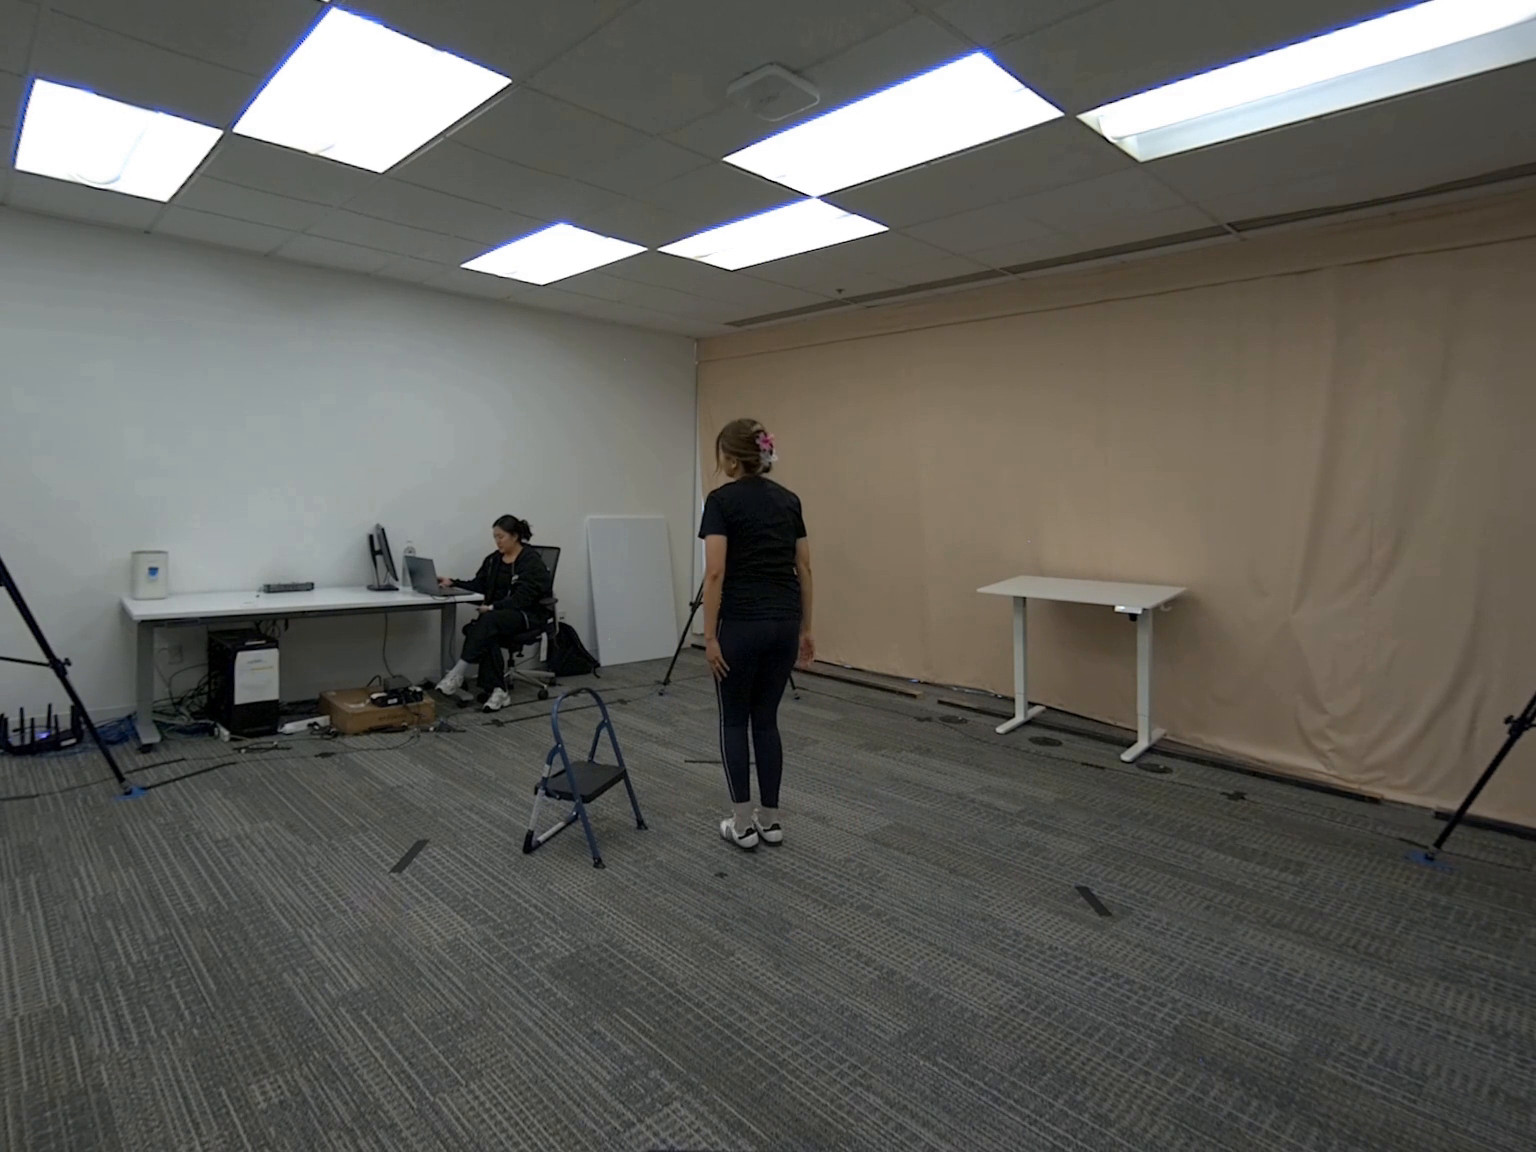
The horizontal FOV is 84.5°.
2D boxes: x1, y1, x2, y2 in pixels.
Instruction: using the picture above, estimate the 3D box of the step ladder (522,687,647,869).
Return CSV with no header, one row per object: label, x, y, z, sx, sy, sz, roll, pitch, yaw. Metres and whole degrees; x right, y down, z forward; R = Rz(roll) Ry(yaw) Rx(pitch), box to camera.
step ladder,-0.723,0.762,3.367,0.354,0.604,0.426,3,4,17
